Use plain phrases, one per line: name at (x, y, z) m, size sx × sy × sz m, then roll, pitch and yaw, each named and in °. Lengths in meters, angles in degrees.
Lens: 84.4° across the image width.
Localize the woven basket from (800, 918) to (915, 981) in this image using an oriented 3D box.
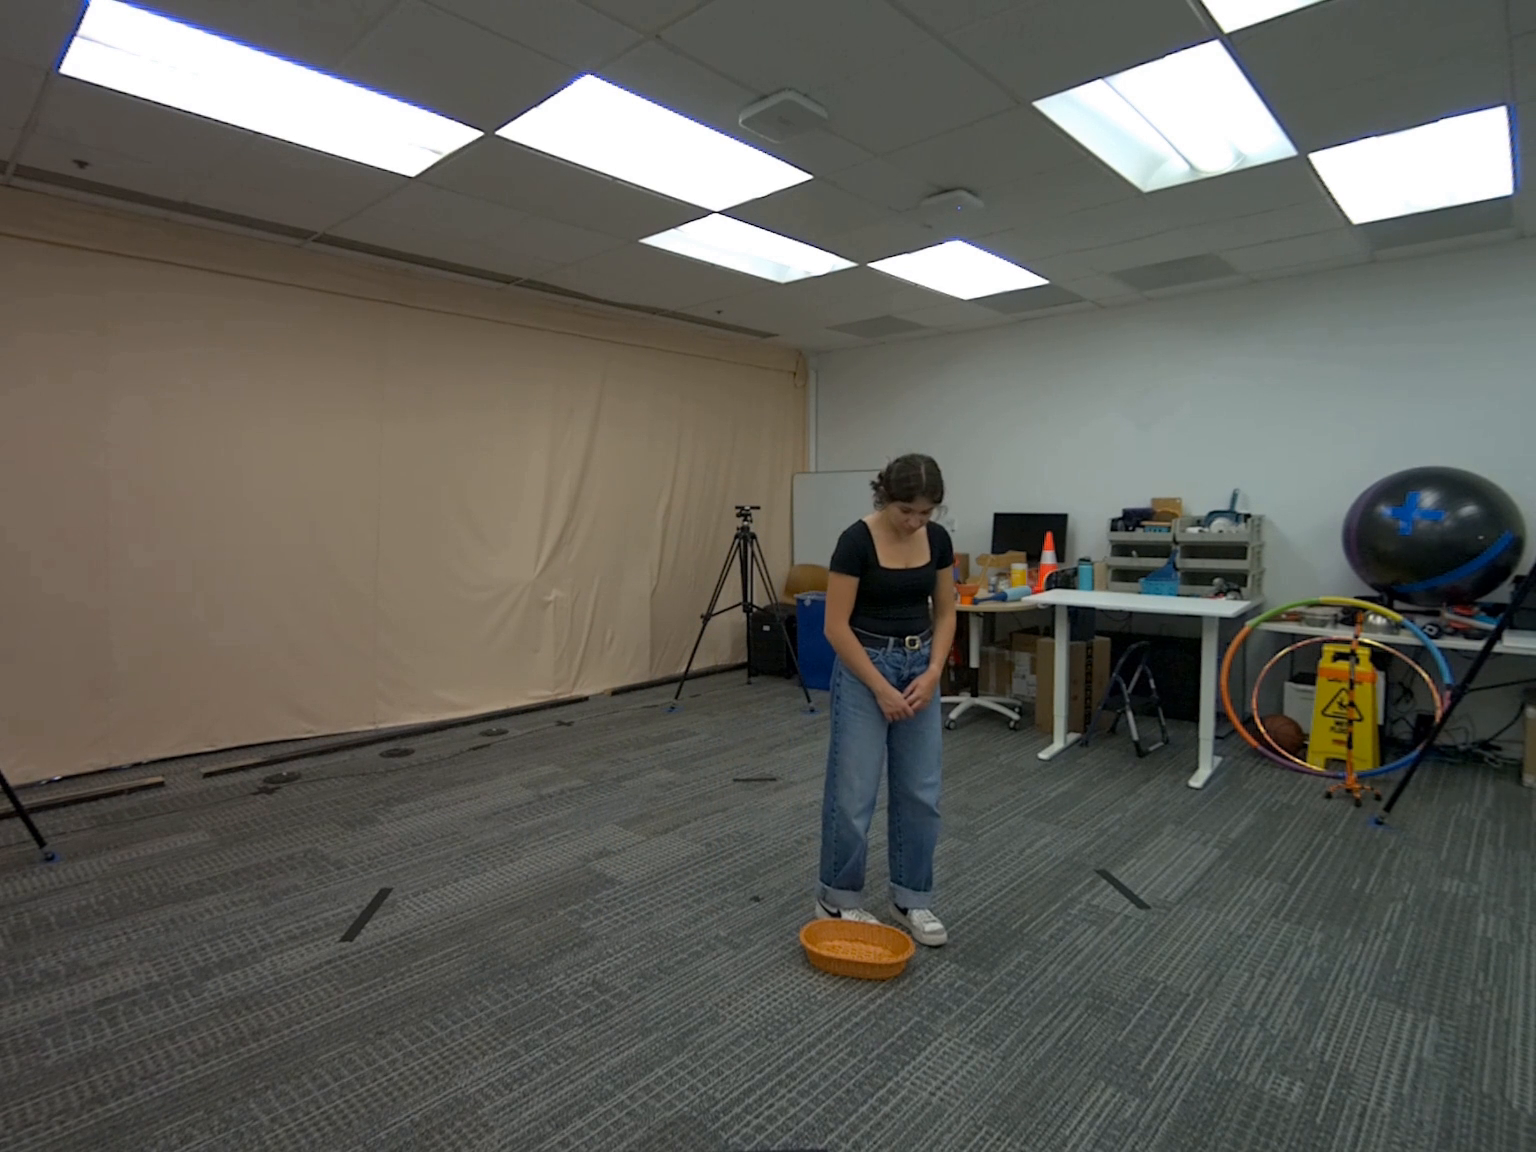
woven basket at (0.271, 1.134, 2.580) m, size 0.358 × 0.073 × 0.247 m, roll 1°, pitch 4°, yaw 20°
